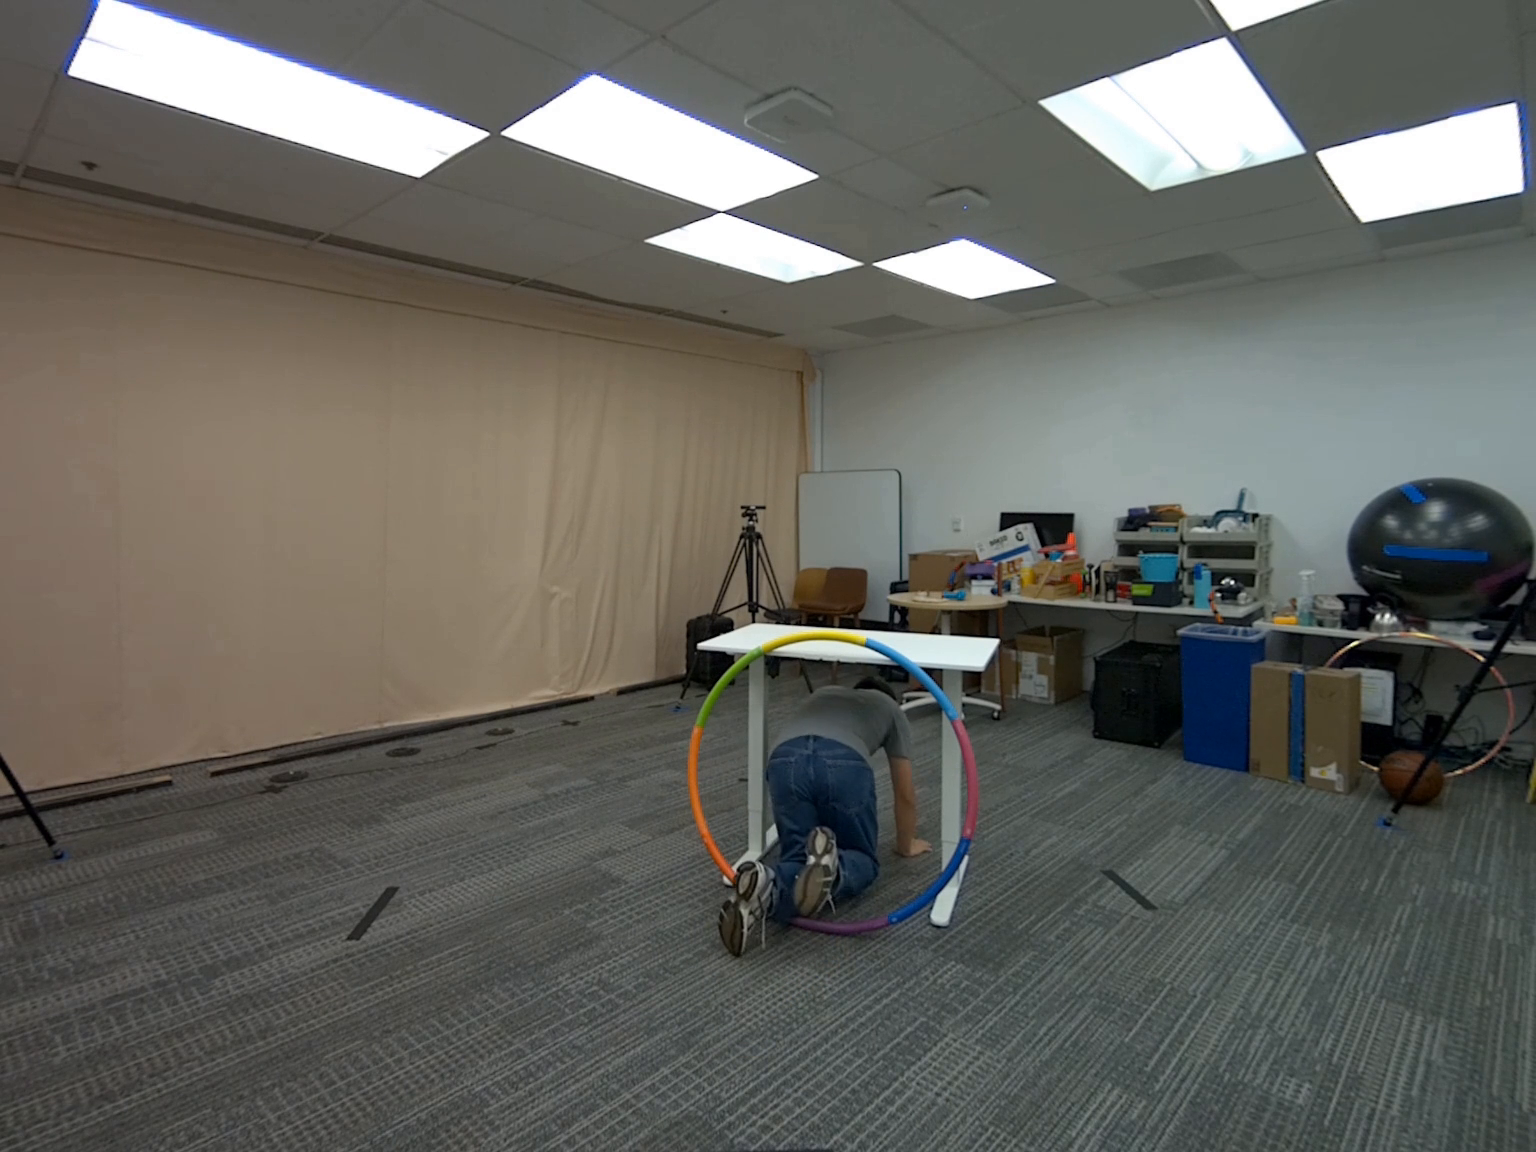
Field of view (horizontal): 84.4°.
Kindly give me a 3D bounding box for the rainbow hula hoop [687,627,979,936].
[{"bbox_3d":[0.184,0.675,2.810,1.001,0.982,0.034,1,-7,22],"label":"rainbow hula hoop"}]
